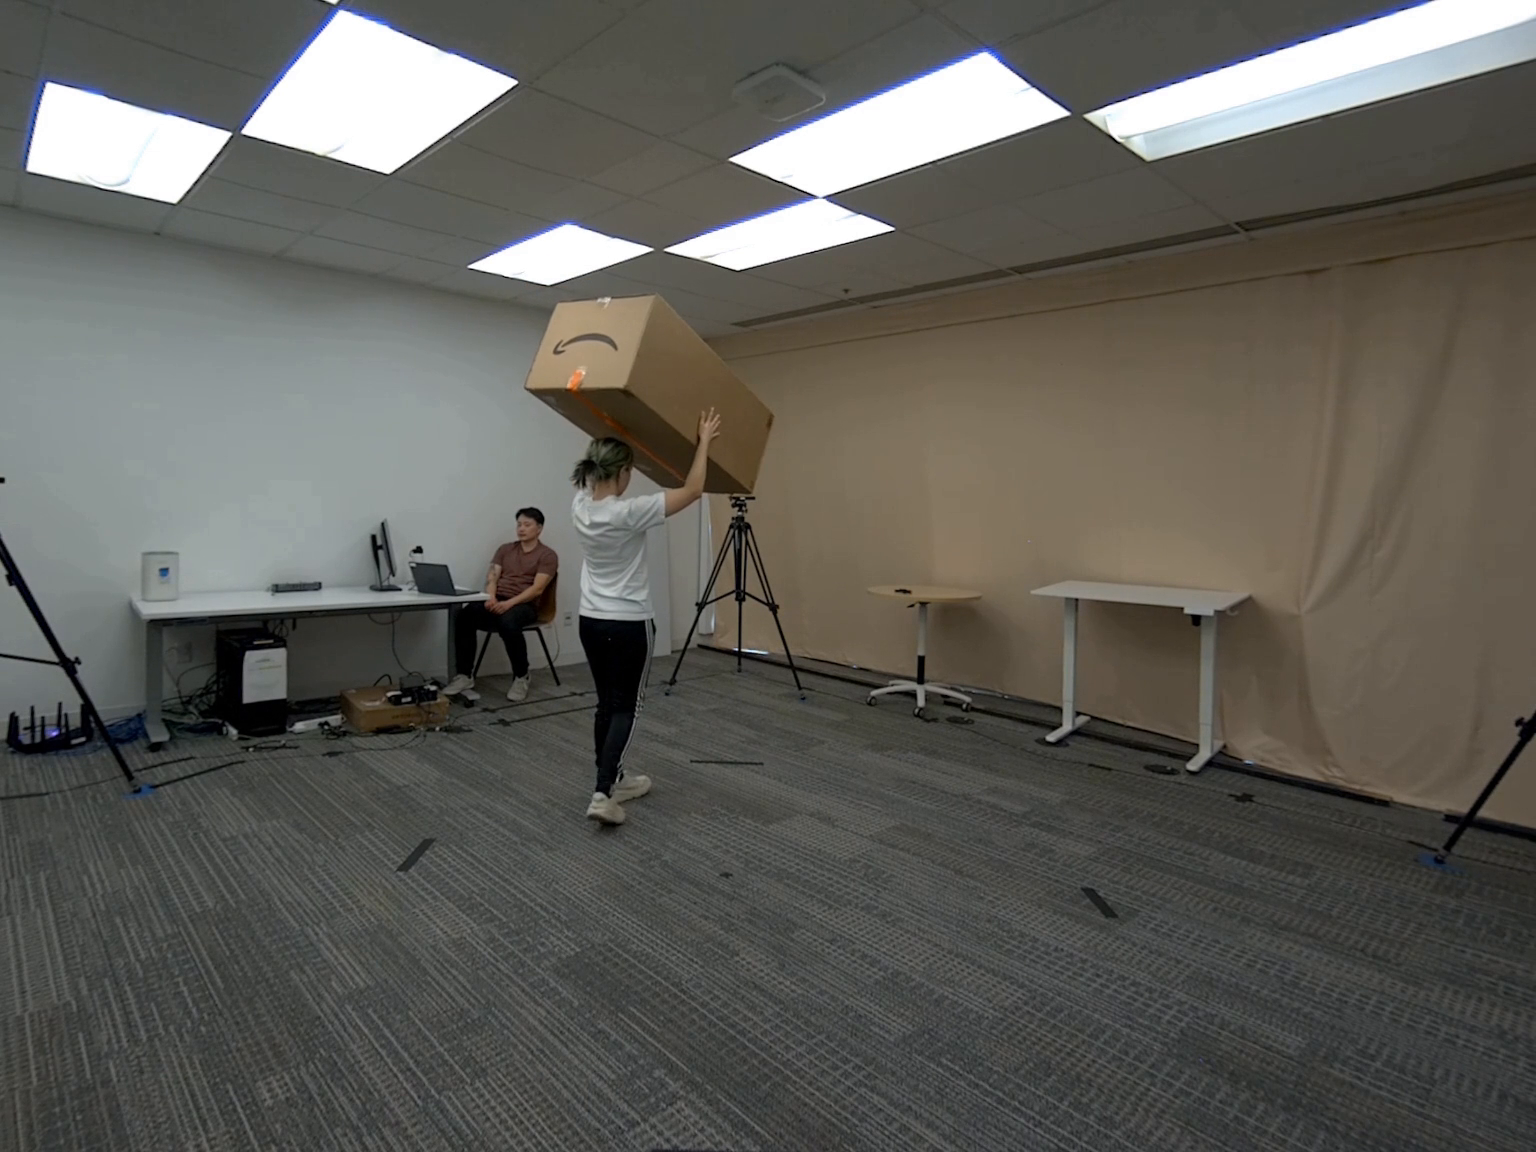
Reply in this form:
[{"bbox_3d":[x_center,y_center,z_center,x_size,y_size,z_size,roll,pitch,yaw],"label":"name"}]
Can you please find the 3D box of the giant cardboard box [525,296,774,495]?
[{"bbox_3d":[-0.500,-0.772,3.811,0.598,0.450,0.995,7,-17,33],"label":"giant cardboard box"}]
